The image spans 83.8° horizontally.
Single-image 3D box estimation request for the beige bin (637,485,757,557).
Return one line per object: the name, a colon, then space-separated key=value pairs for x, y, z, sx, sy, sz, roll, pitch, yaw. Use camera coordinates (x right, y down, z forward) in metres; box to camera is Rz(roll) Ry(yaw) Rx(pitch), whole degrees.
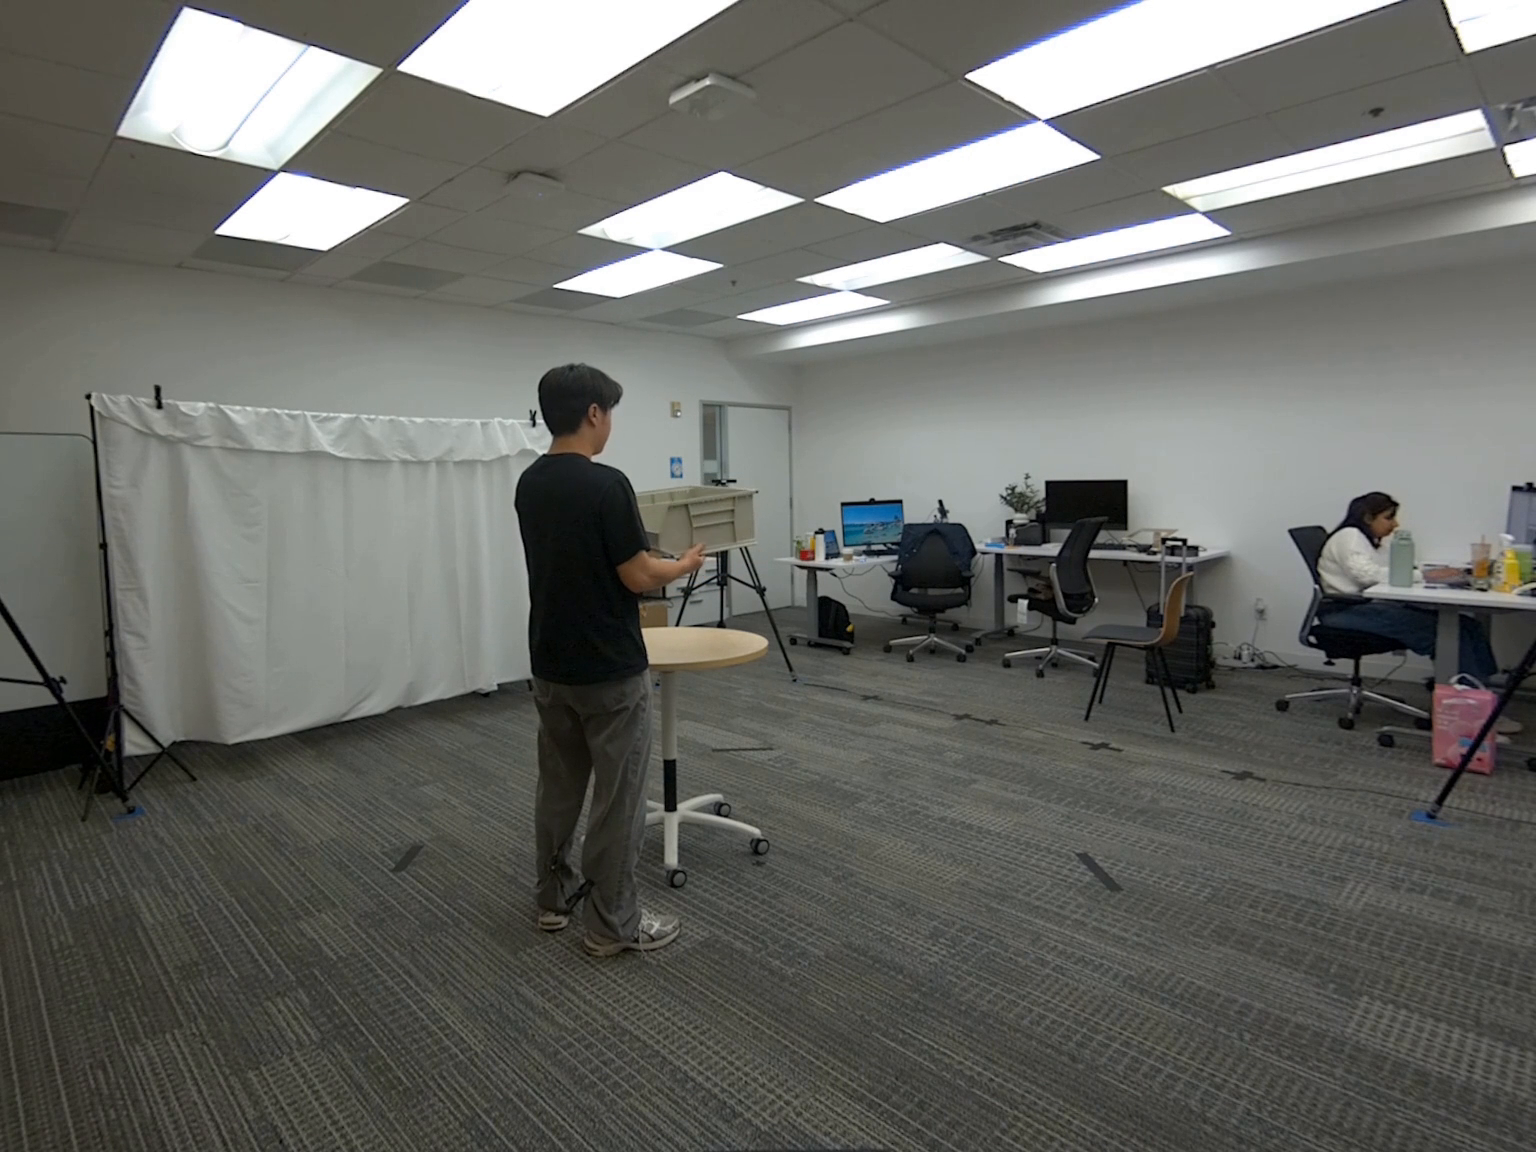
beige bin: x=-0.288 y=-0.190 z=2.865 sx=0.369 sy=0.187 sz=0.436 roll=-10 pitch=12 yaw=-34
